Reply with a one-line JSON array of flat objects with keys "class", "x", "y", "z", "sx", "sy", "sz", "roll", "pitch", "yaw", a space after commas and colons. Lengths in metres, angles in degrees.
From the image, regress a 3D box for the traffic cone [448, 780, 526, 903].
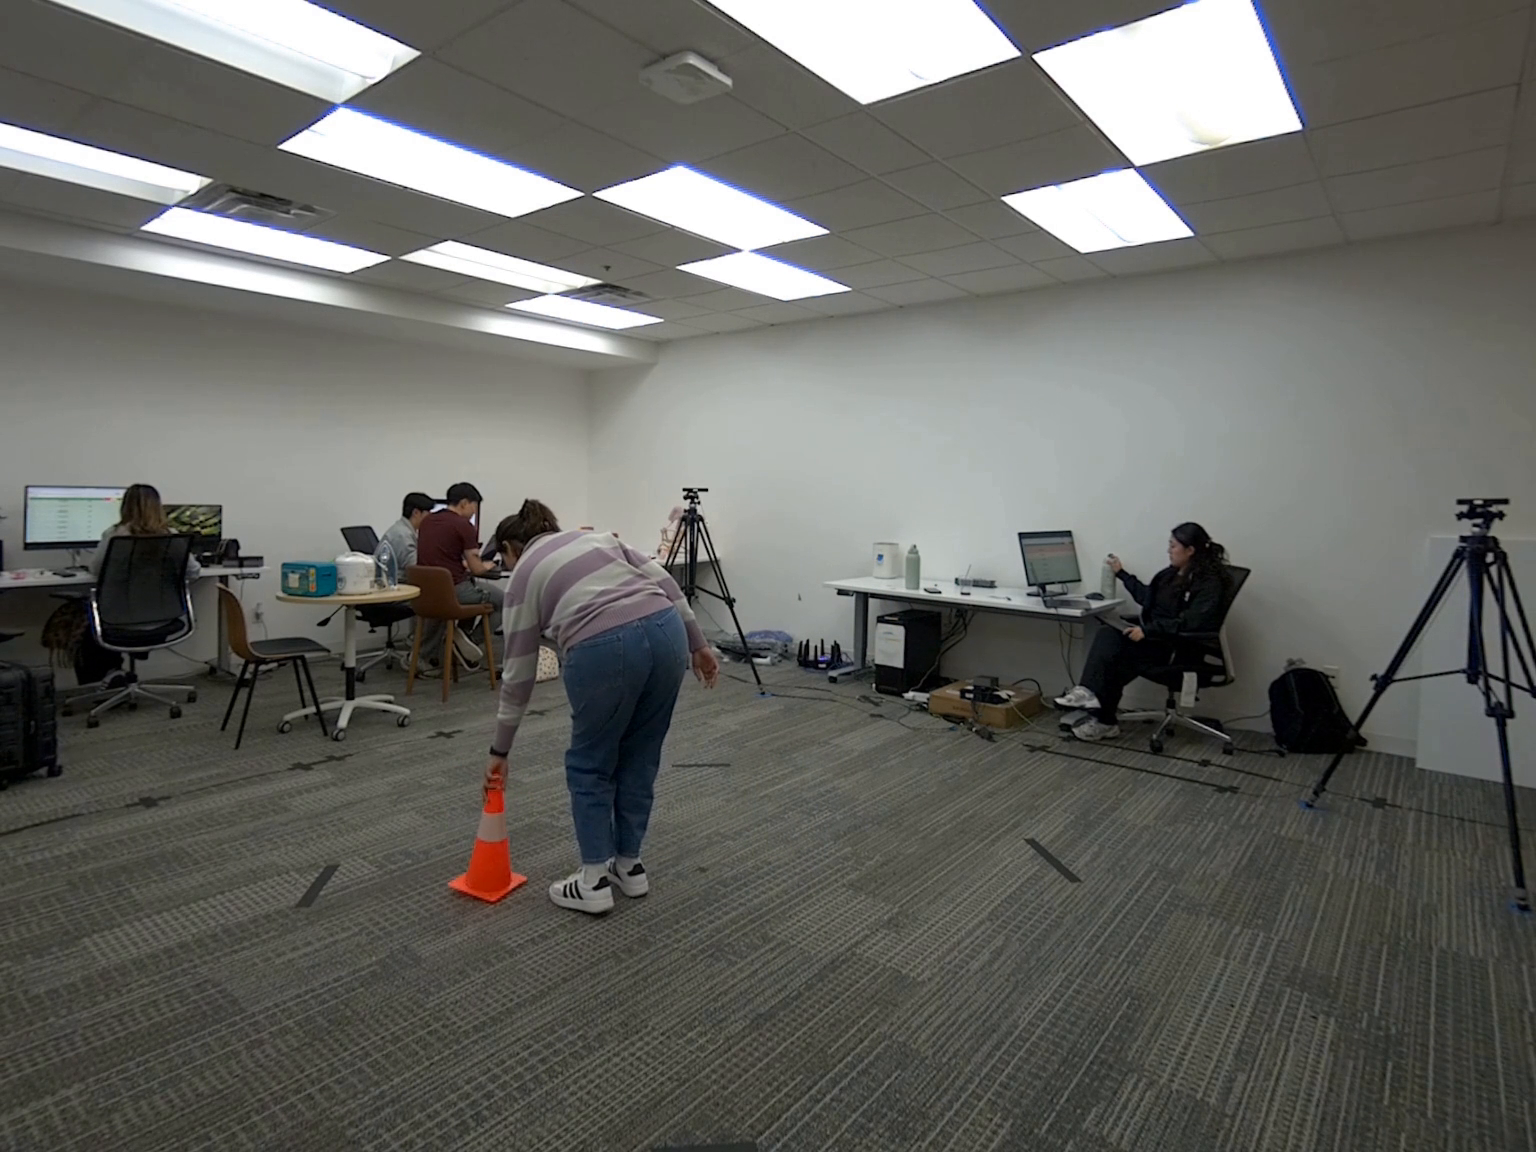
[{"class": "traffic cone", "x": -0.960, "y": 0.866, "z": 2.922, "sx": 0.210, "sy": 0.382, "sz": 0.199, "roll": 8, "pitch": 5, "yaw": 23}]
